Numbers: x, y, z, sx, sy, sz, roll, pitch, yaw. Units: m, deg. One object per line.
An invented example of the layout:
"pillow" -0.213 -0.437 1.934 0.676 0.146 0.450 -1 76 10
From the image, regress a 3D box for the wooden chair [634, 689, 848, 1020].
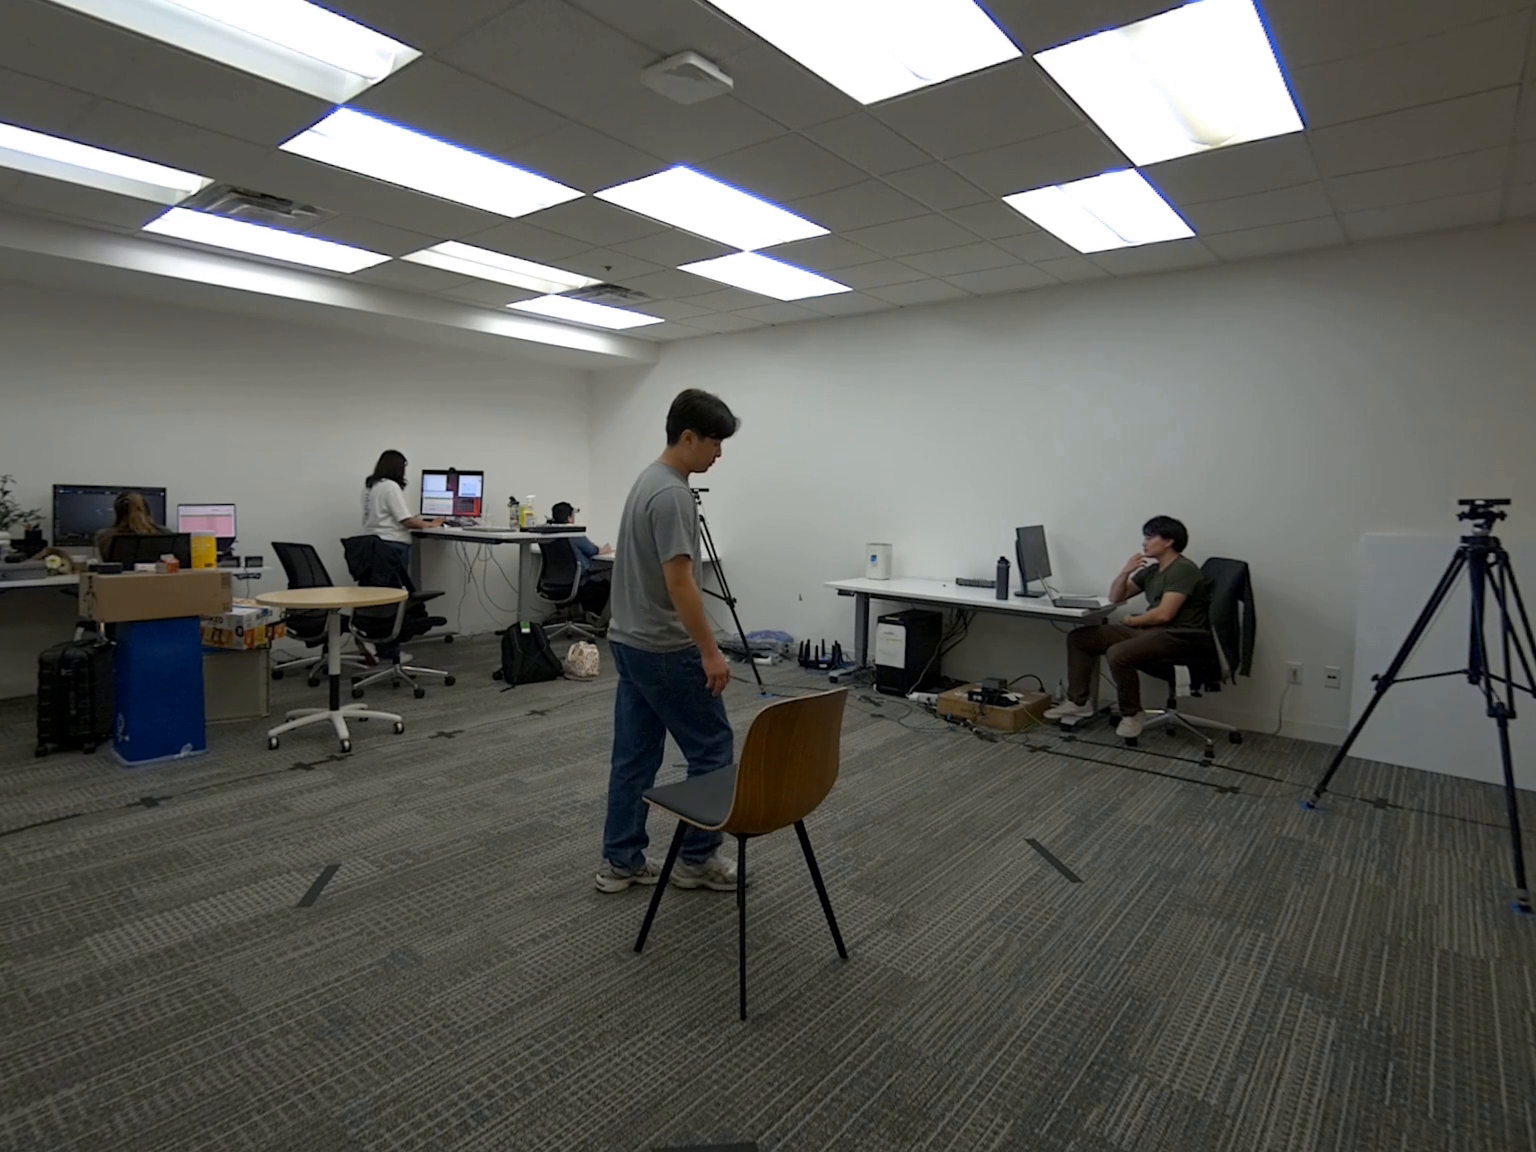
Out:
"wooden chair" -0.086 0.703 2.515 0.542 0.872 0.463 11 9 43
